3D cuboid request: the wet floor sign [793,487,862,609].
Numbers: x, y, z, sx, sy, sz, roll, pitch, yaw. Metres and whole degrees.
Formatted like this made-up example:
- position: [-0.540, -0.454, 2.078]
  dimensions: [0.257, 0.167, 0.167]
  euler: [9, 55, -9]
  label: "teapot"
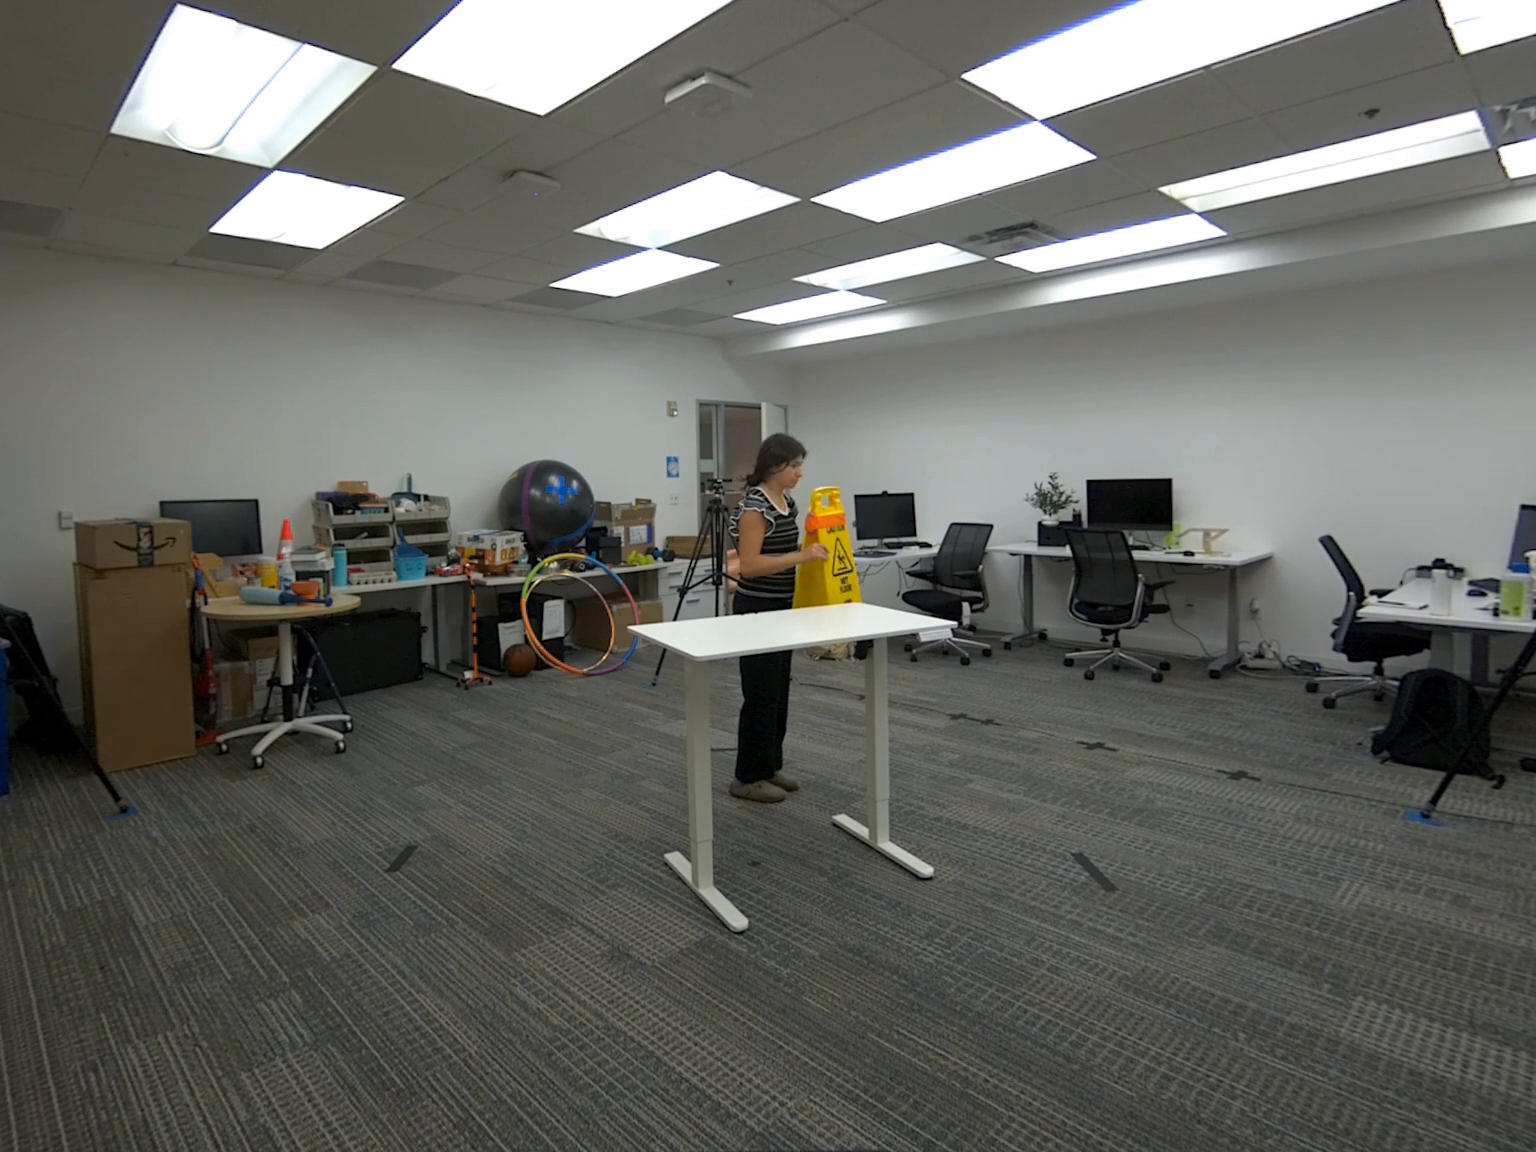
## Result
- position: [0.243, -0.055, 3.694]
  dimensions: [0.298, 0.642, 0.275]
  euler: [4, 8, 37]
  label: "wet floor sign"
